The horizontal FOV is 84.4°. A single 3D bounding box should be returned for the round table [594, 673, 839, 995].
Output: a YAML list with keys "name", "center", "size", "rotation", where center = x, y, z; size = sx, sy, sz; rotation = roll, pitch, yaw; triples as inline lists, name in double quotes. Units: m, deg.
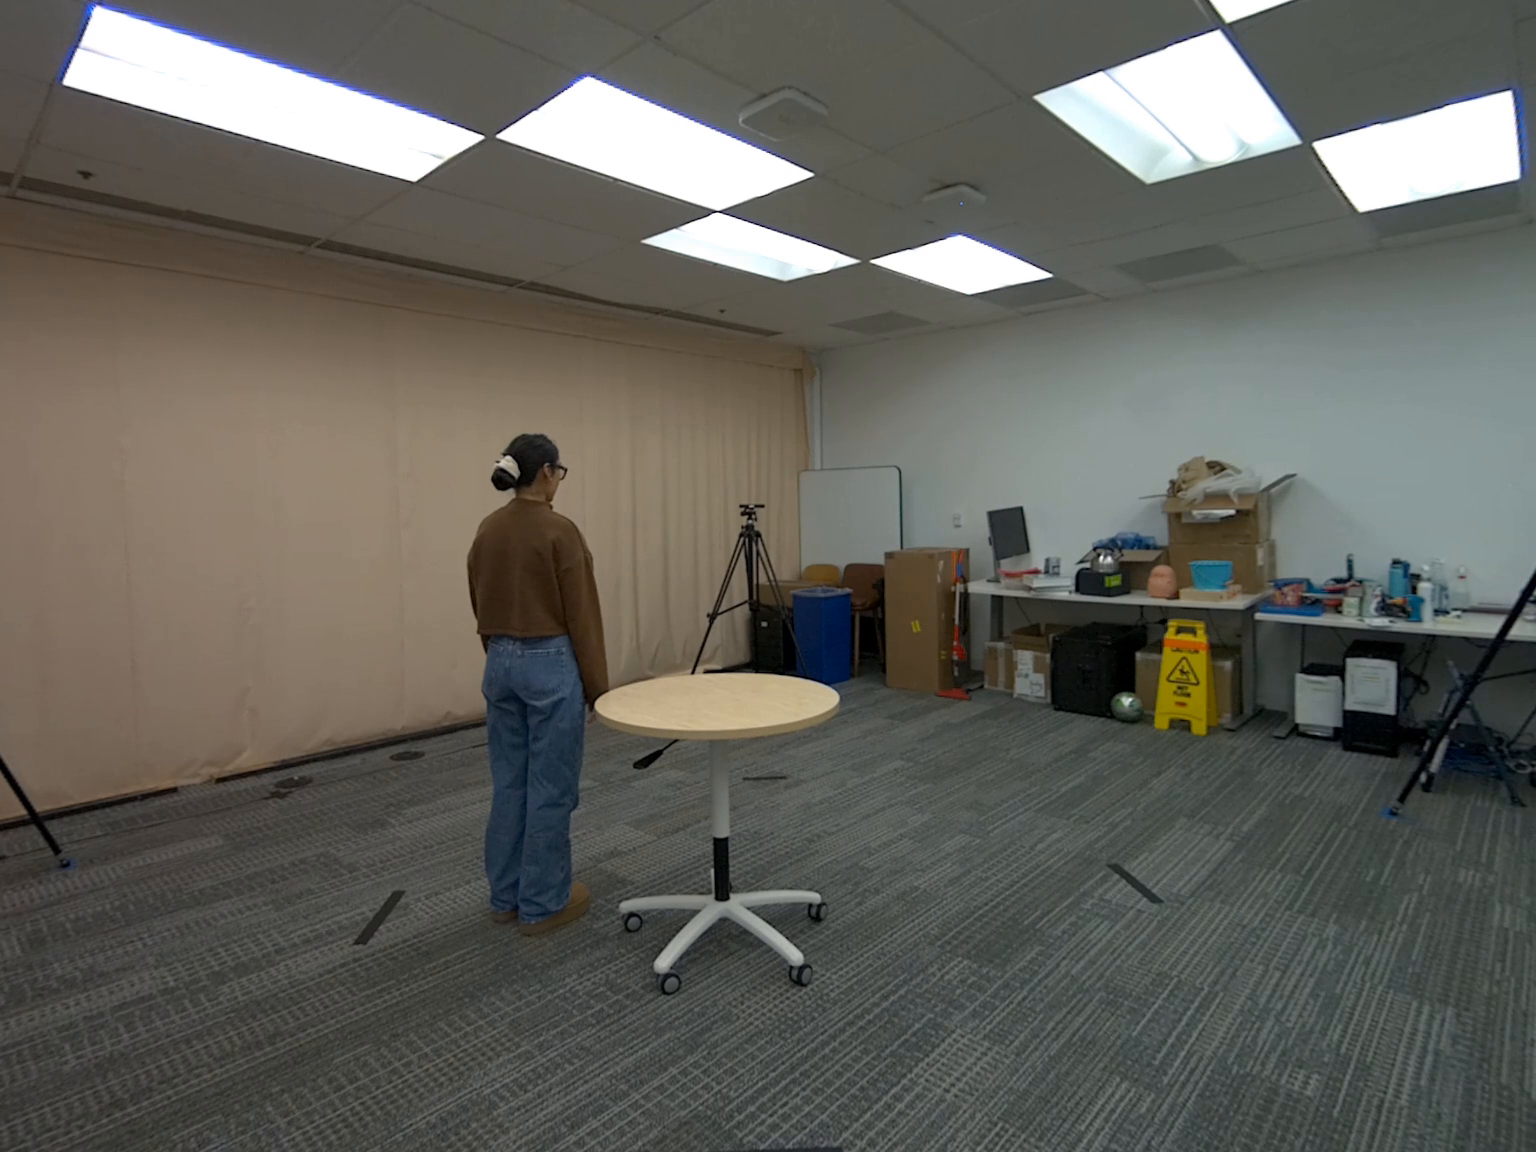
- name: "round table"
  center: [-0.147, 0.782, 2.662]
  size: [0.763, 0.792, 0.767]
  rotation: [-2, 4, -2]
